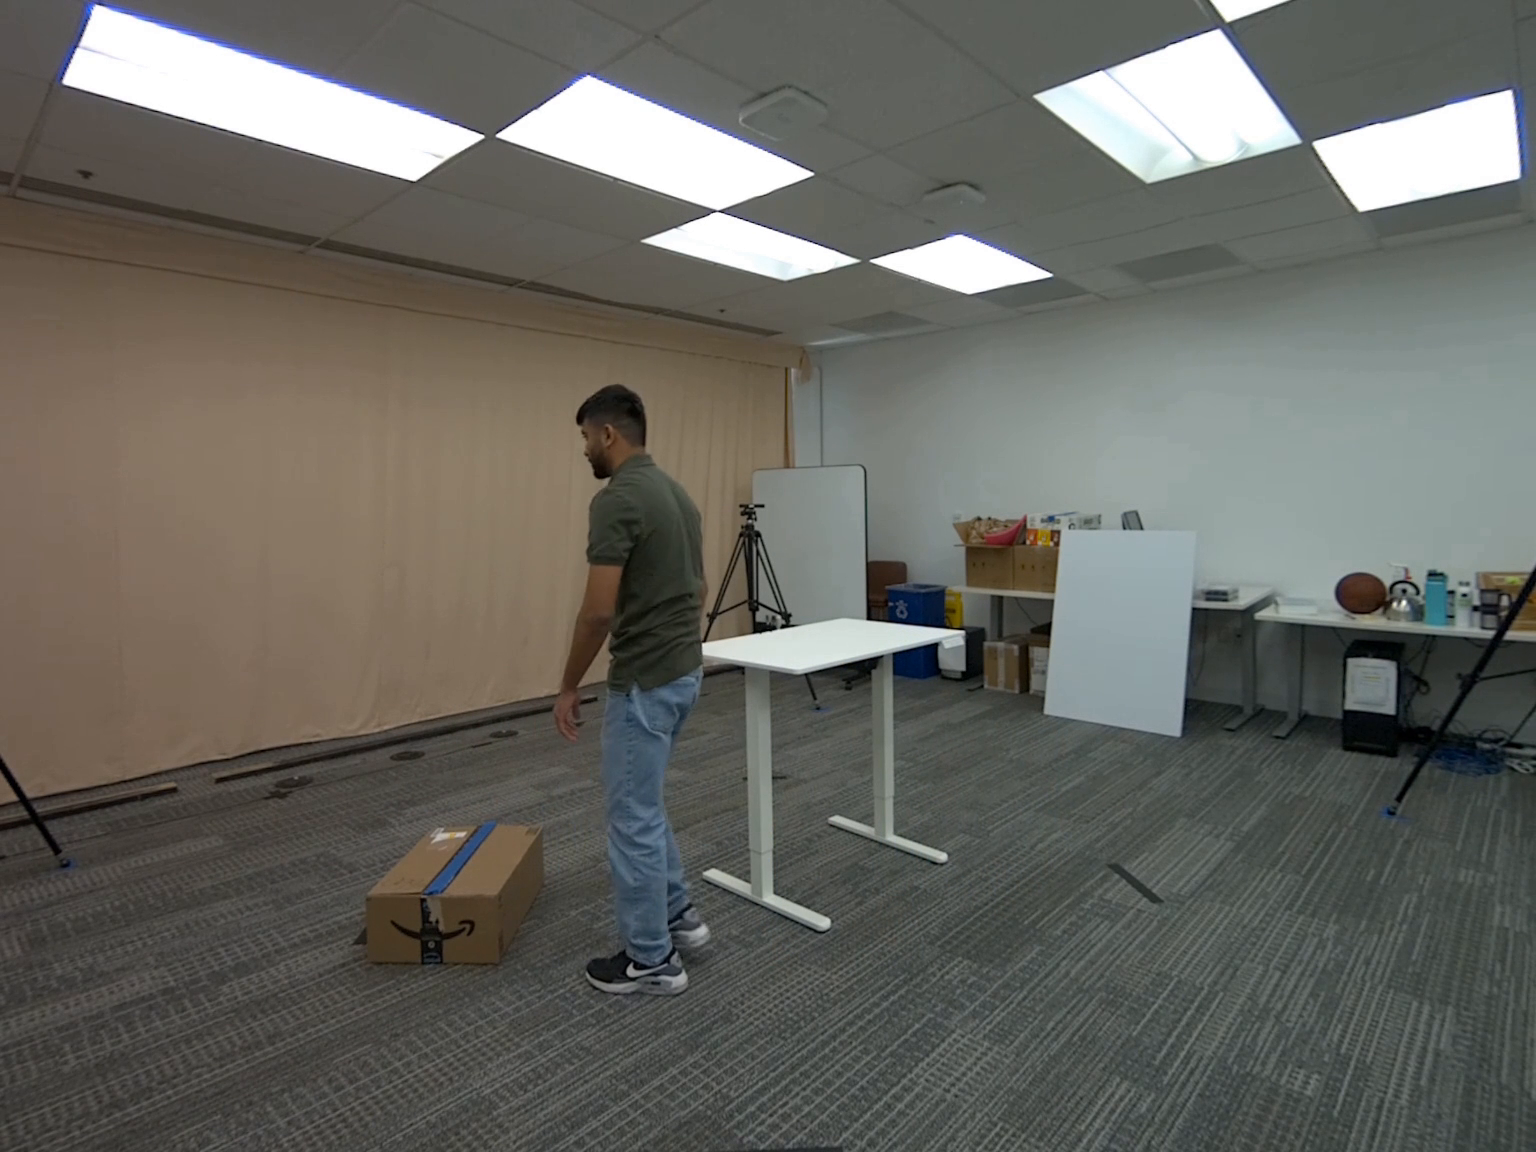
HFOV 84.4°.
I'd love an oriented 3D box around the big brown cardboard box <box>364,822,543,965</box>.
[{"bbox_3d":[-1.032,1.056,2.872,0.418,0.232,0.590,-2,5,0],"label":"big brown cardboard box"}]
